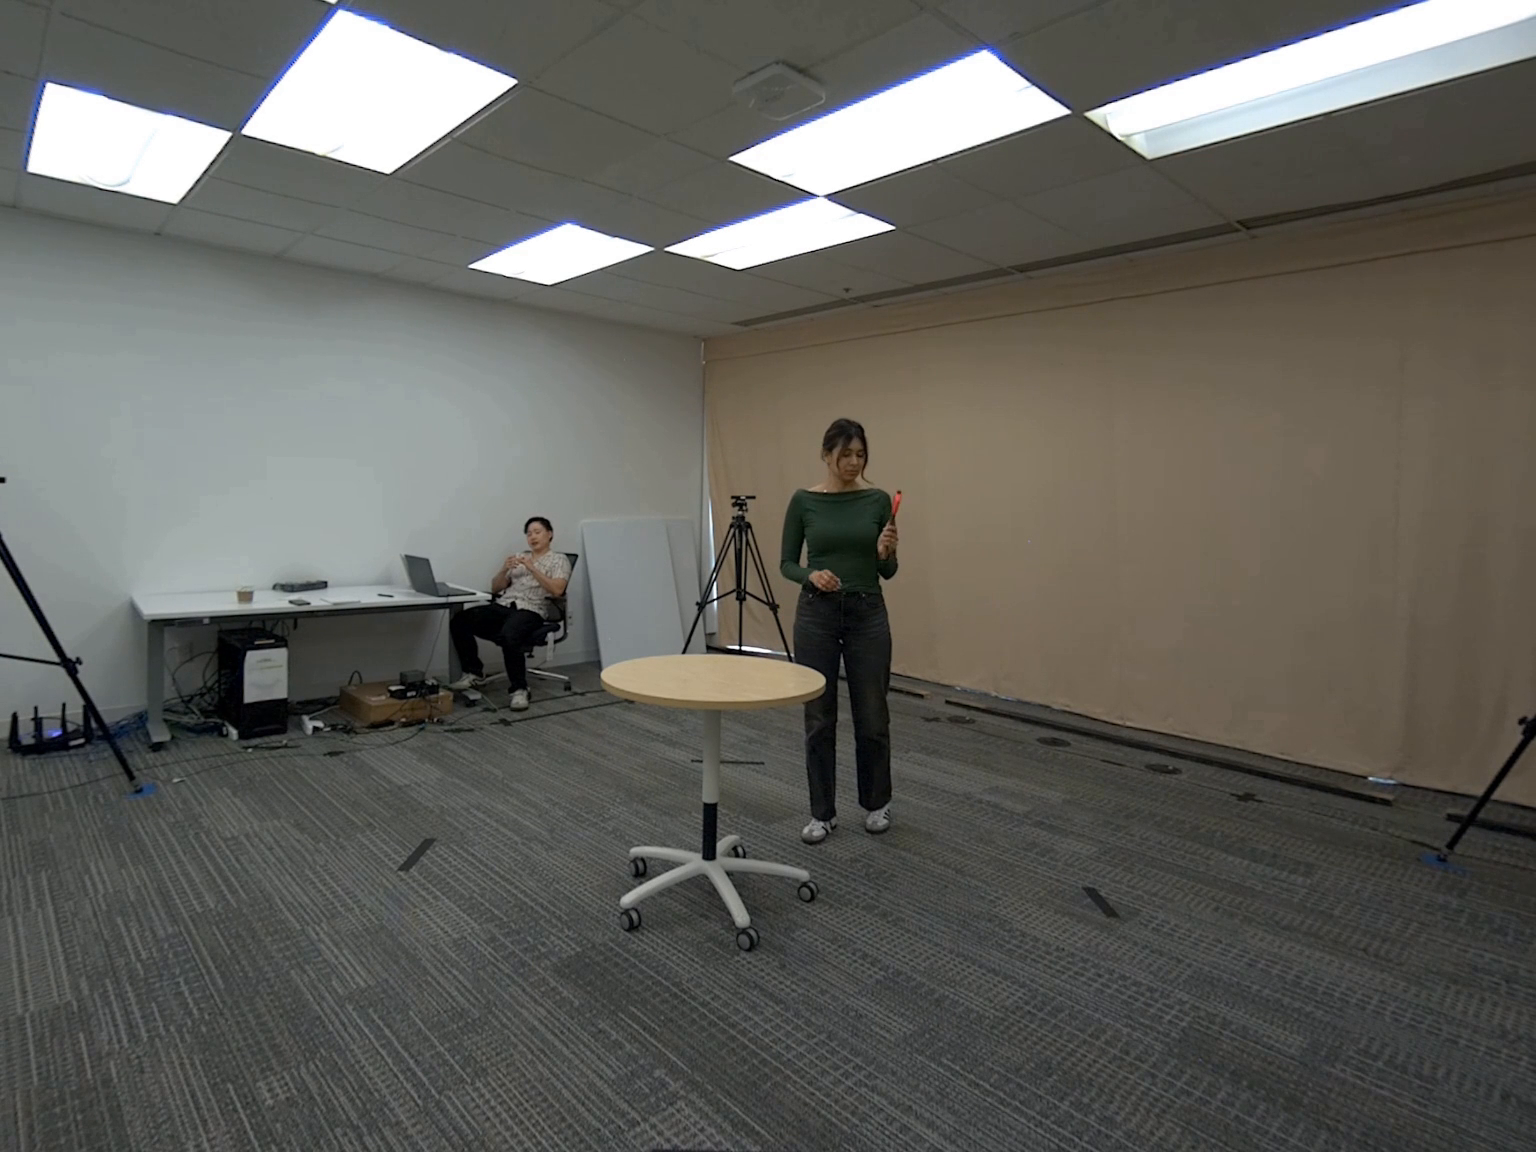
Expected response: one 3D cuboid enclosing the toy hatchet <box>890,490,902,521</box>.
[{"bbox_3d":[0.454,-0.194,3.168,0.030,0.270,0.130,12,0,2],"label":"toy hatchet"}]
